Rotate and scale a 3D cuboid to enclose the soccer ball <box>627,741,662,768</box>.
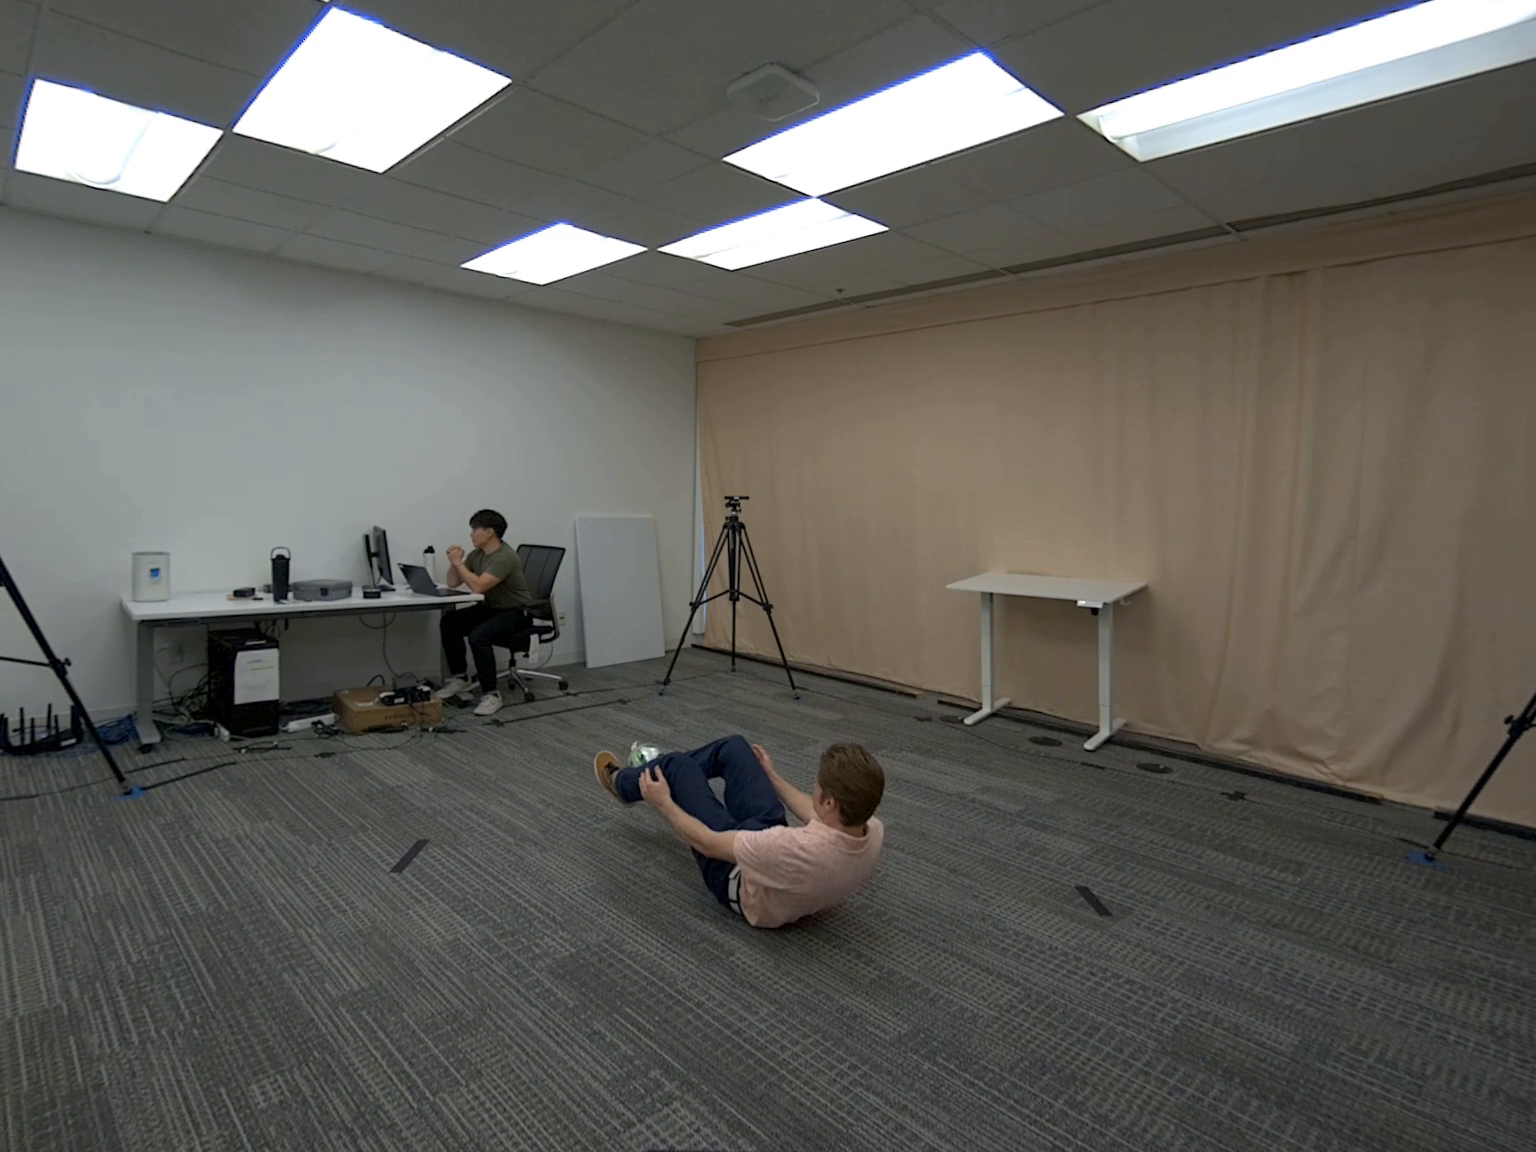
[{"bbox_3d":[-0.484,0.771,3.375,0.187,0.187,0.188,1,4,-1],"label":"soccer ball"}]
